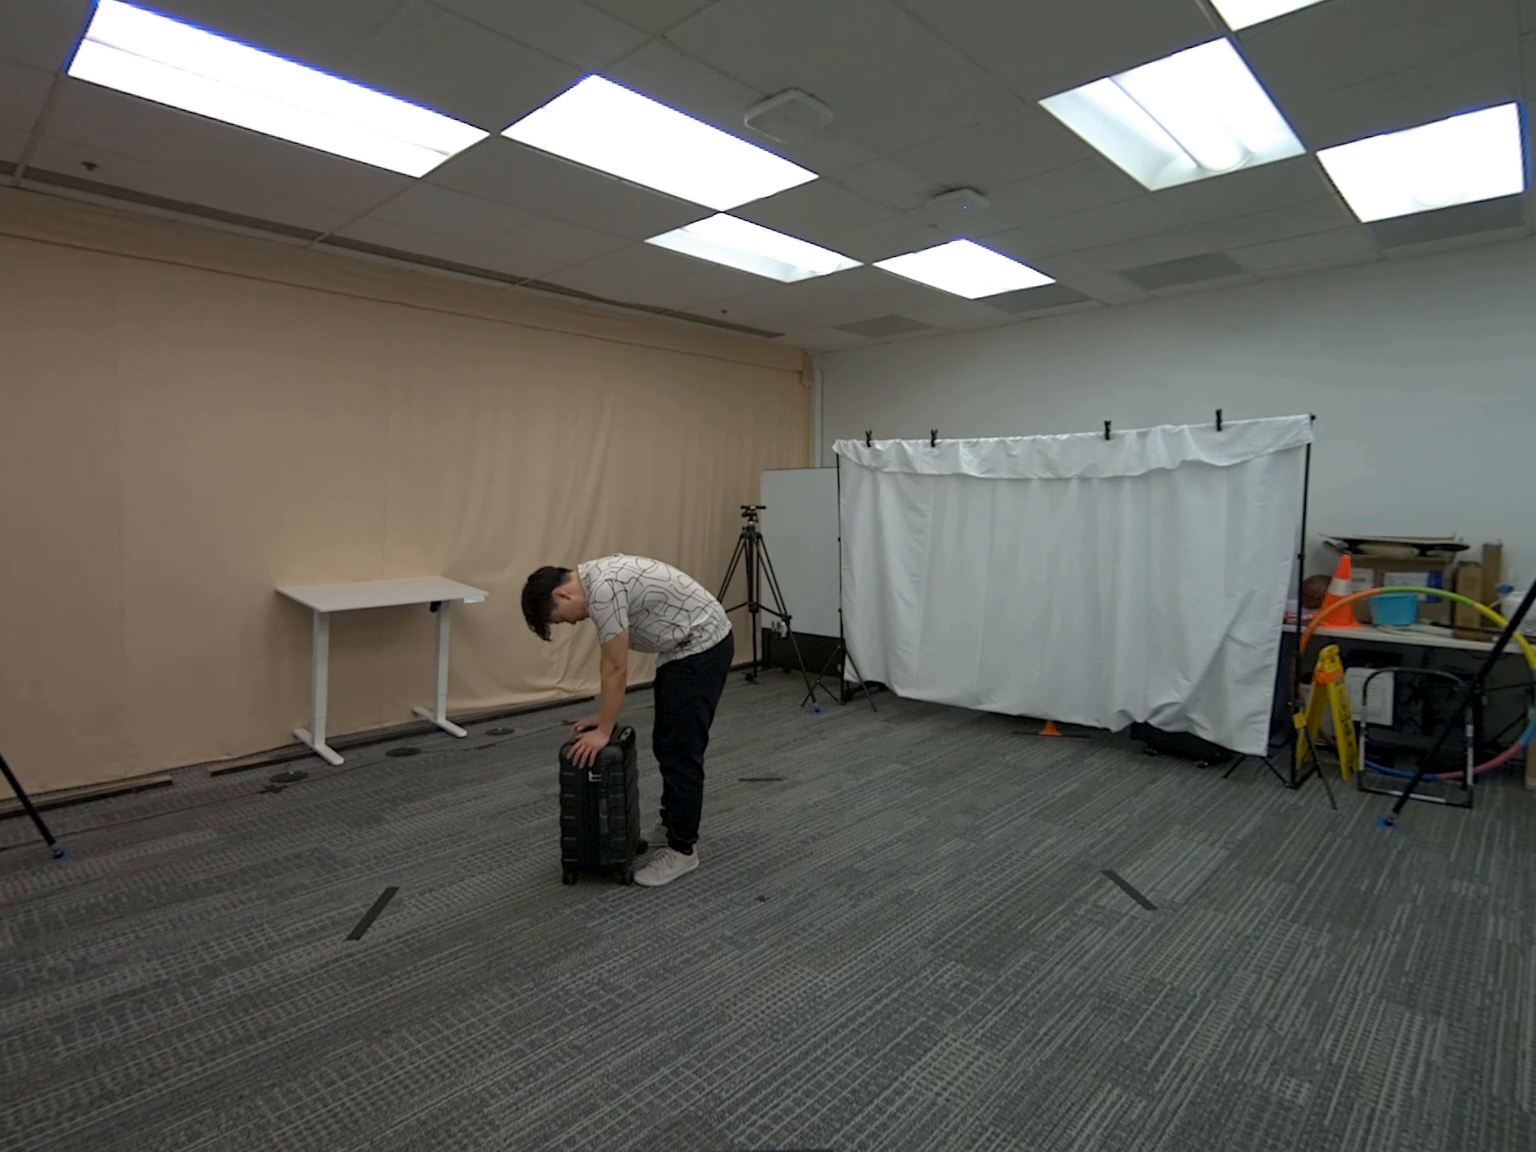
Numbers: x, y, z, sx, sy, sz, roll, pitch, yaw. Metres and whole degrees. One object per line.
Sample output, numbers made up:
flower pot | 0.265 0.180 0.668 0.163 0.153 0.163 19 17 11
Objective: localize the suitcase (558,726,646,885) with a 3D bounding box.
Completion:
suitcase | -0.647 0.857 3.224 0.249 0.548 0.375 -3 4 2
